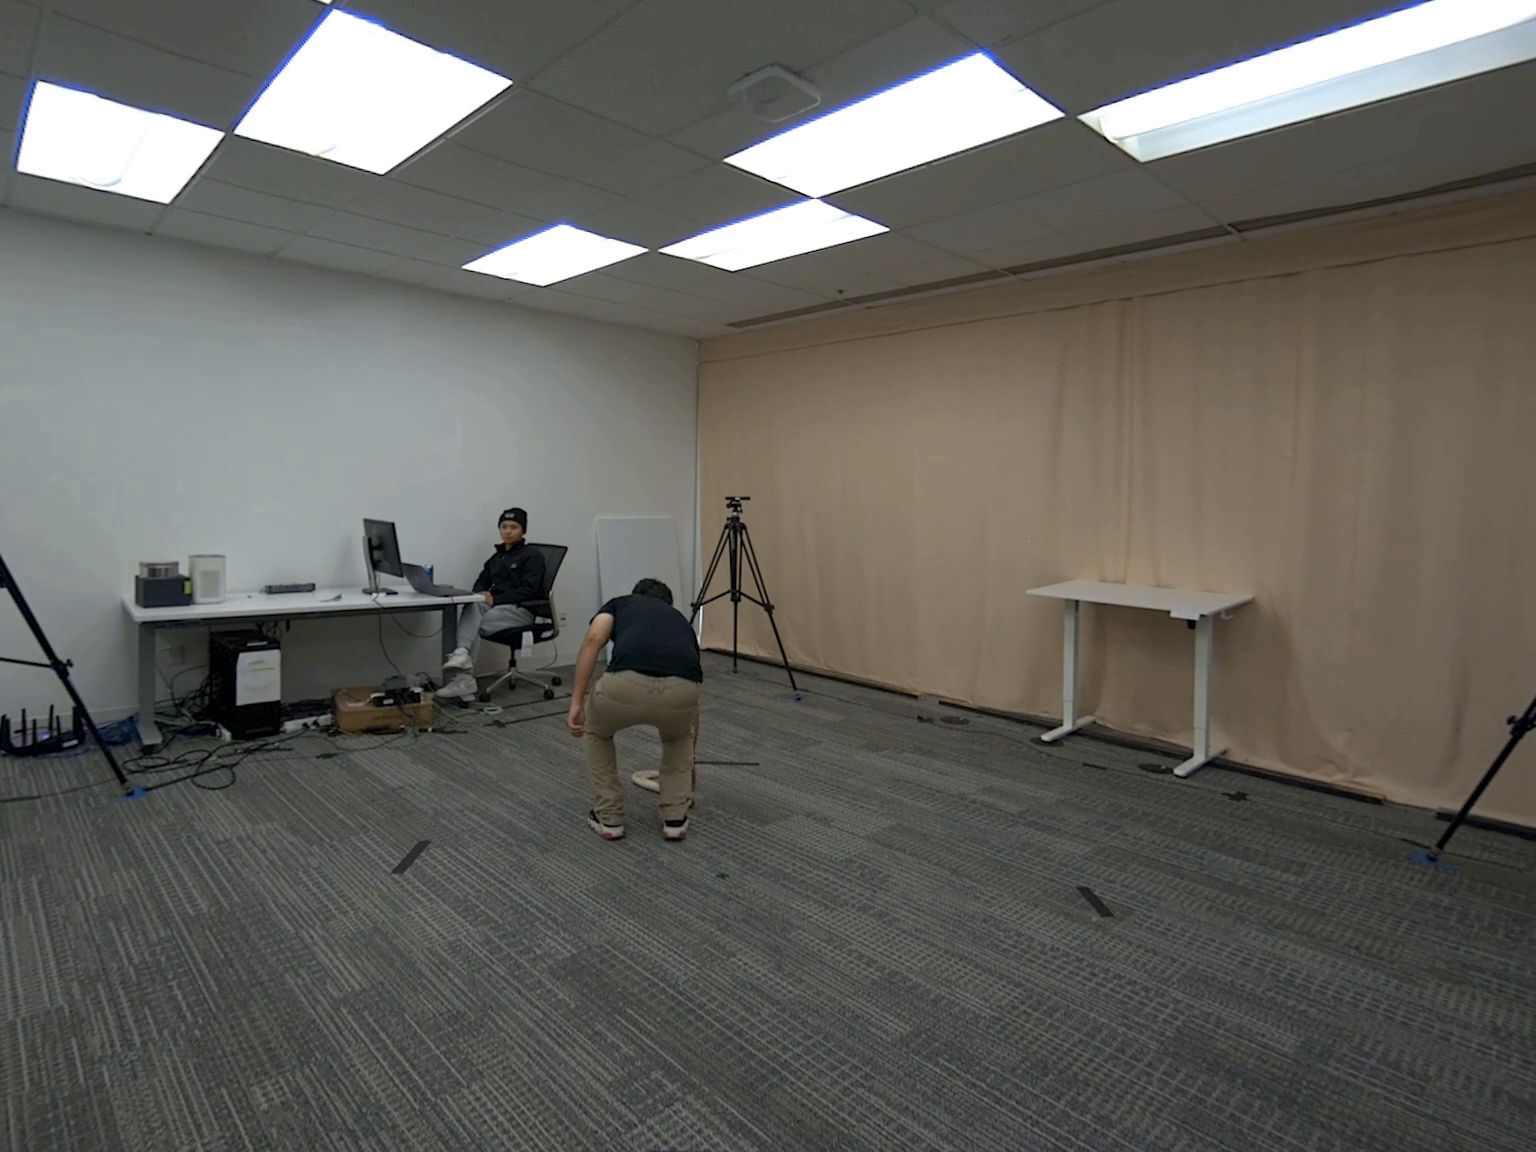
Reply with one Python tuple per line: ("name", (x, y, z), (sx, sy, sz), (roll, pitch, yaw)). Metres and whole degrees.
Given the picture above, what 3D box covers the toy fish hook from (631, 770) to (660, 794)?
("toy fish hook", (-0.468, 1.000, 4.000), (0.220, 0.048, 0.519), (-3, 7, -38))
